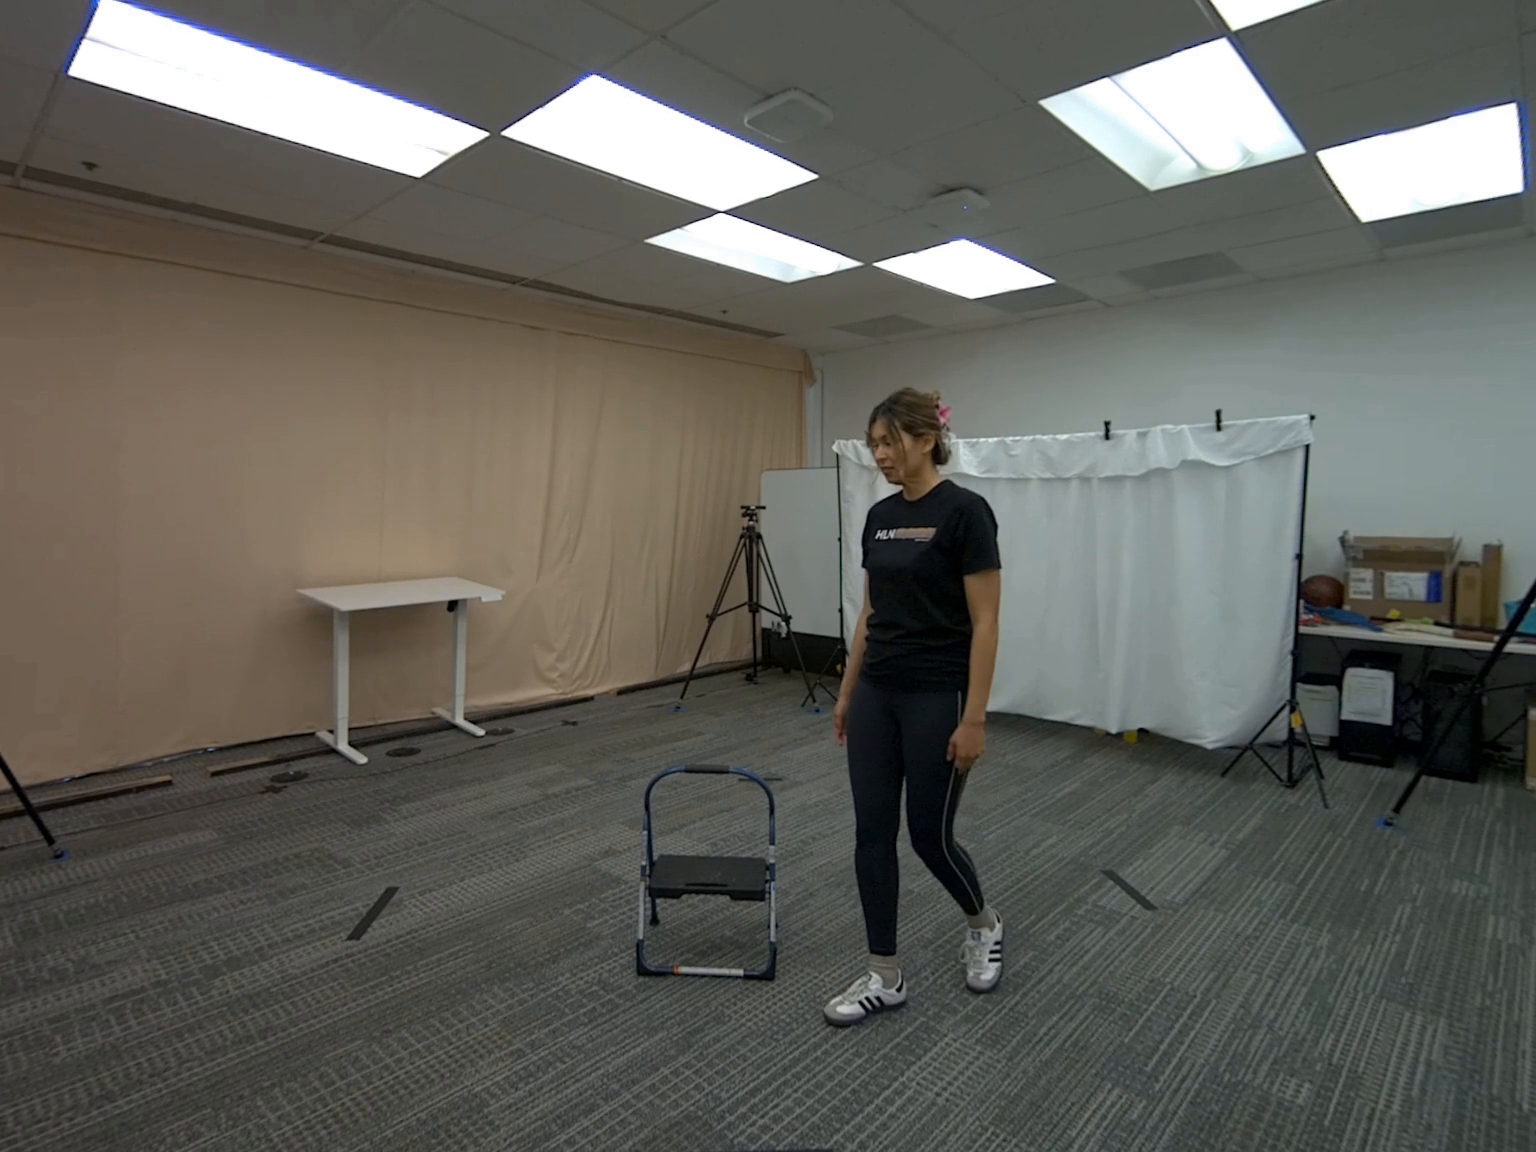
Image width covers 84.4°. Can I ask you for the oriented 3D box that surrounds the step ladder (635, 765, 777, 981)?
[{"bbox_3d":[-0.182,0.873,2.634,0.432,0.605,0.349,0,2,2],"label":"step ladder"}]
